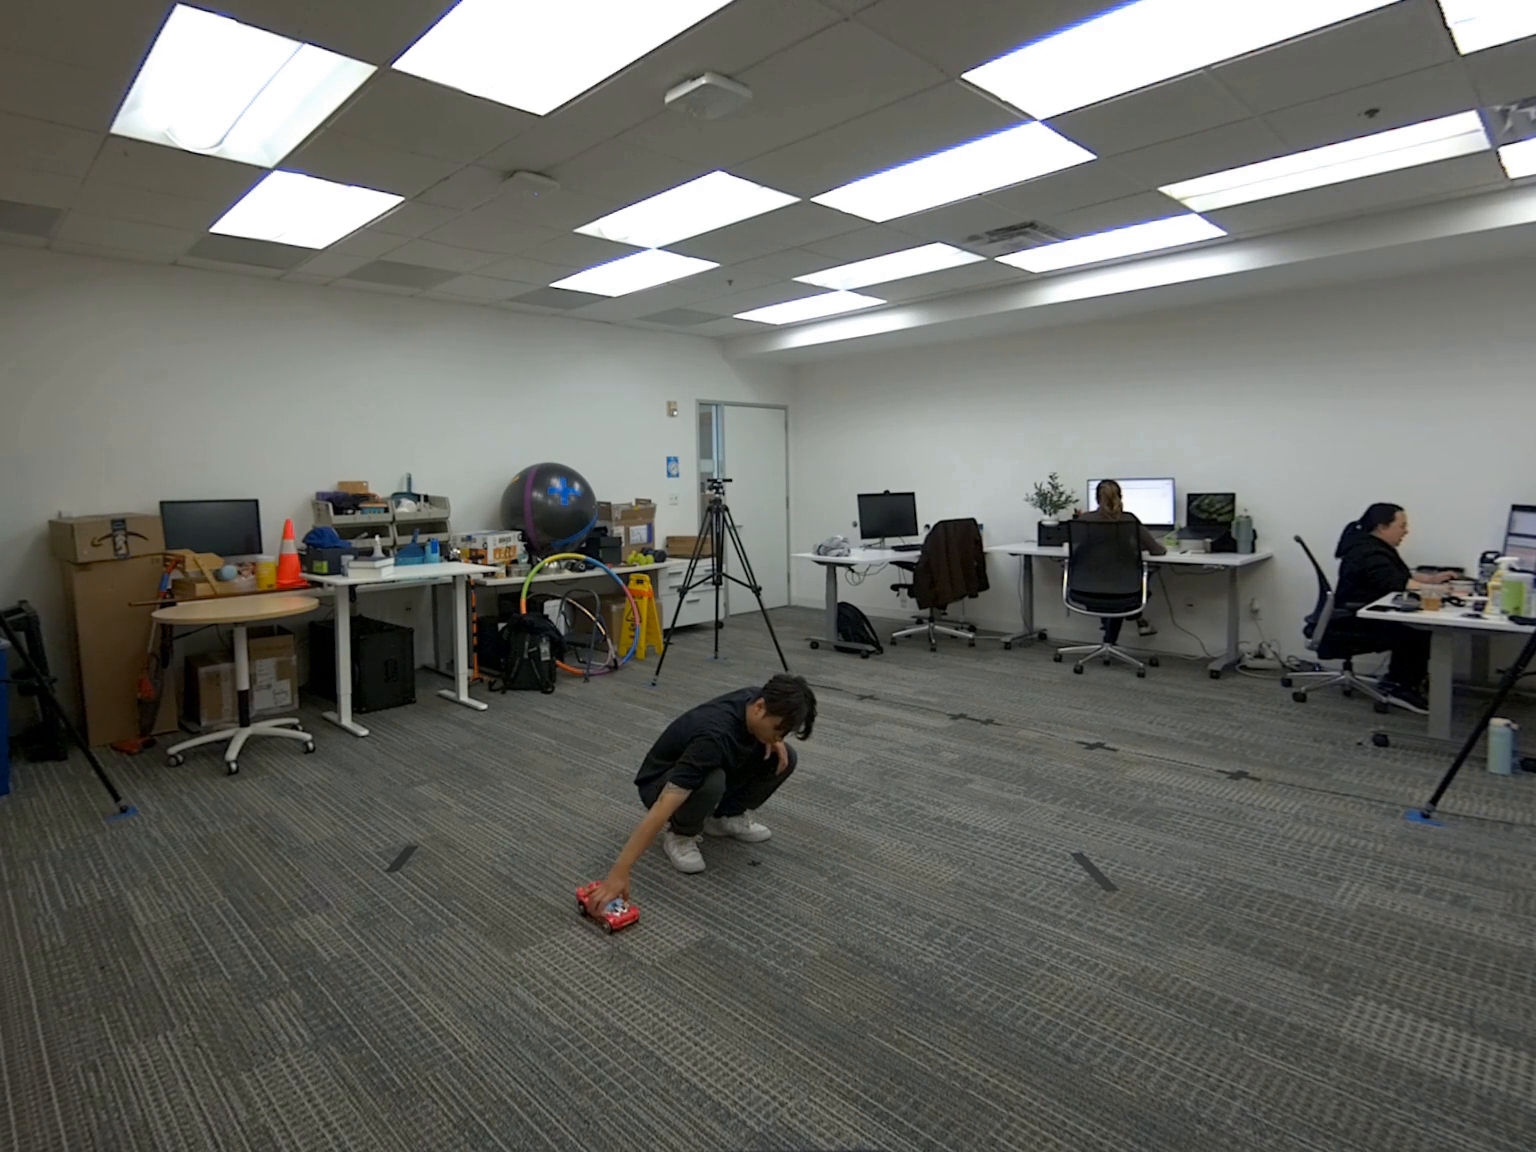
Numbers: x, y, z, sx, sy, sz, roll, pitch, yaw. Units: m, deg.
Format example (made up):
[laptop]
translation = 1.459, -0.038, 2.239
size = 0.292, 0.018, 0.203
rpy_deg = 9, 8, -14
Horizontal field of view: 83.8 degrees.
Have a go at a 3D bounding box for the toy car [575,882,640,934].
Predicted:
[toy car]
translation = -0.526, 1.064, 2.757
size = 0.127, 0.082, 0.264
rpy_deg = -6, 19, -40
